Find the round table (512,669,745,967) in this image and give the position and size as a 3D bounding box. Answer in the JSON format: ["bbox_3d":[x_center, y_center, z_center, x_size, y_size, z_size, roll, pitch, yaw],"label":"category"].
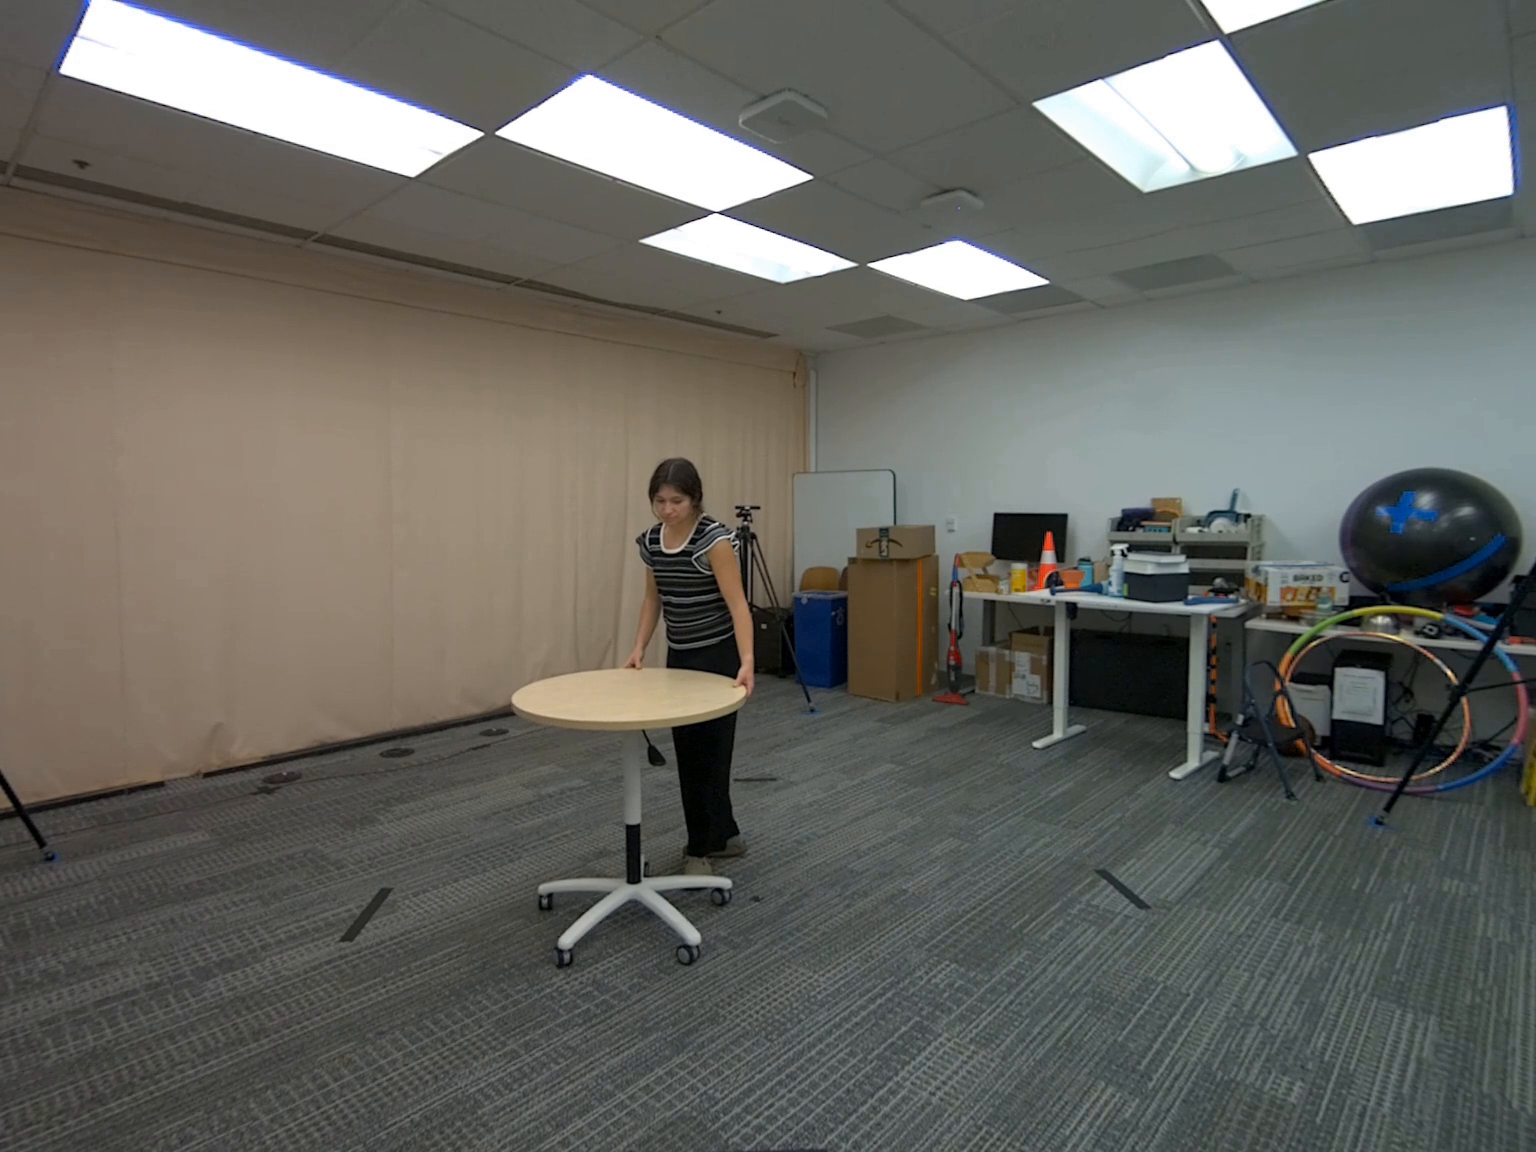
[{"bbox_3d":[-0.444,0.770,2.780,0.784,0.785,0.788,-1,4,-2],"label":"round table"}]
